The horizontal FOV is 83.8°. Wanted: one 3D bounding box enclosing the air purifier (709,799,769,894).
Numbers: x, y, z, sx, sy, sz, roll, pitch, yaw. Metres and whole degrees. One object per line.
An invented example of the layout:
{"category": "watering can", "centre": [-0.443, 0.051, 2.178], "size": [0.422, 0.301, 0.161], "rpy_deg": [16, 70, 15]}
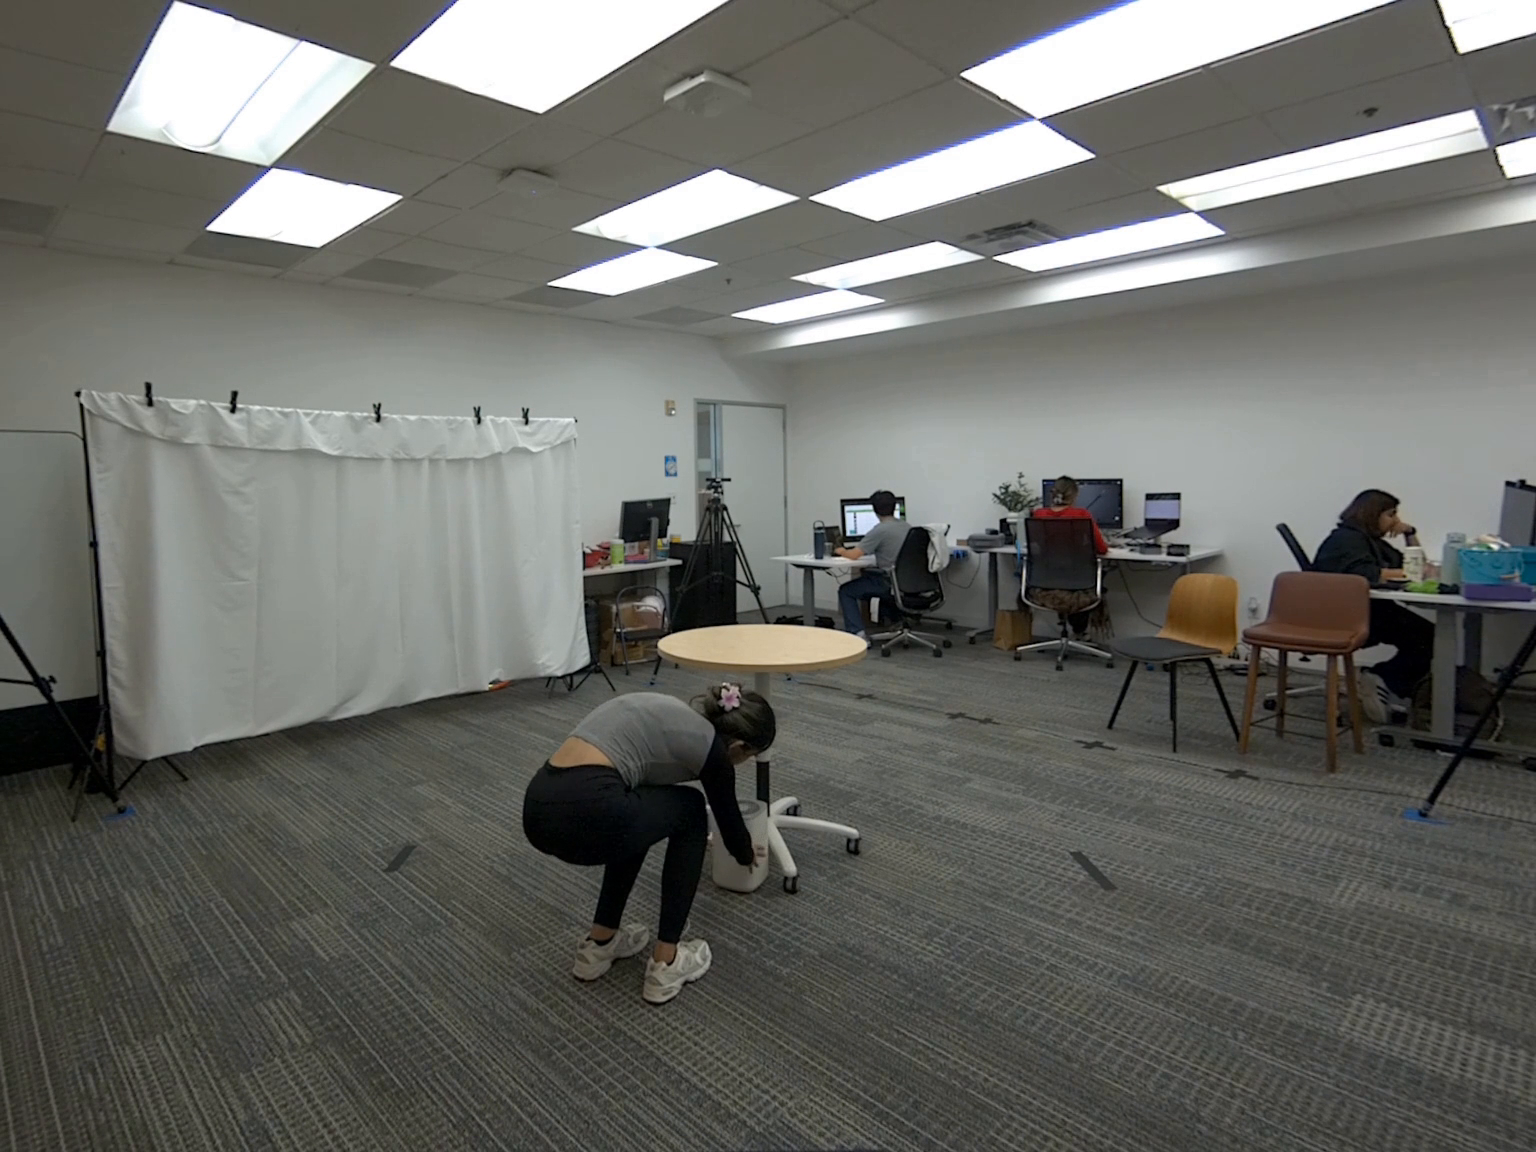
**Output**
{"category": "air purifier", "centre": [-0.090, 0.927, 2.965], "size": [0.174, 0.265, 0.169], "rpy_deg": [0, 3, 21]}
